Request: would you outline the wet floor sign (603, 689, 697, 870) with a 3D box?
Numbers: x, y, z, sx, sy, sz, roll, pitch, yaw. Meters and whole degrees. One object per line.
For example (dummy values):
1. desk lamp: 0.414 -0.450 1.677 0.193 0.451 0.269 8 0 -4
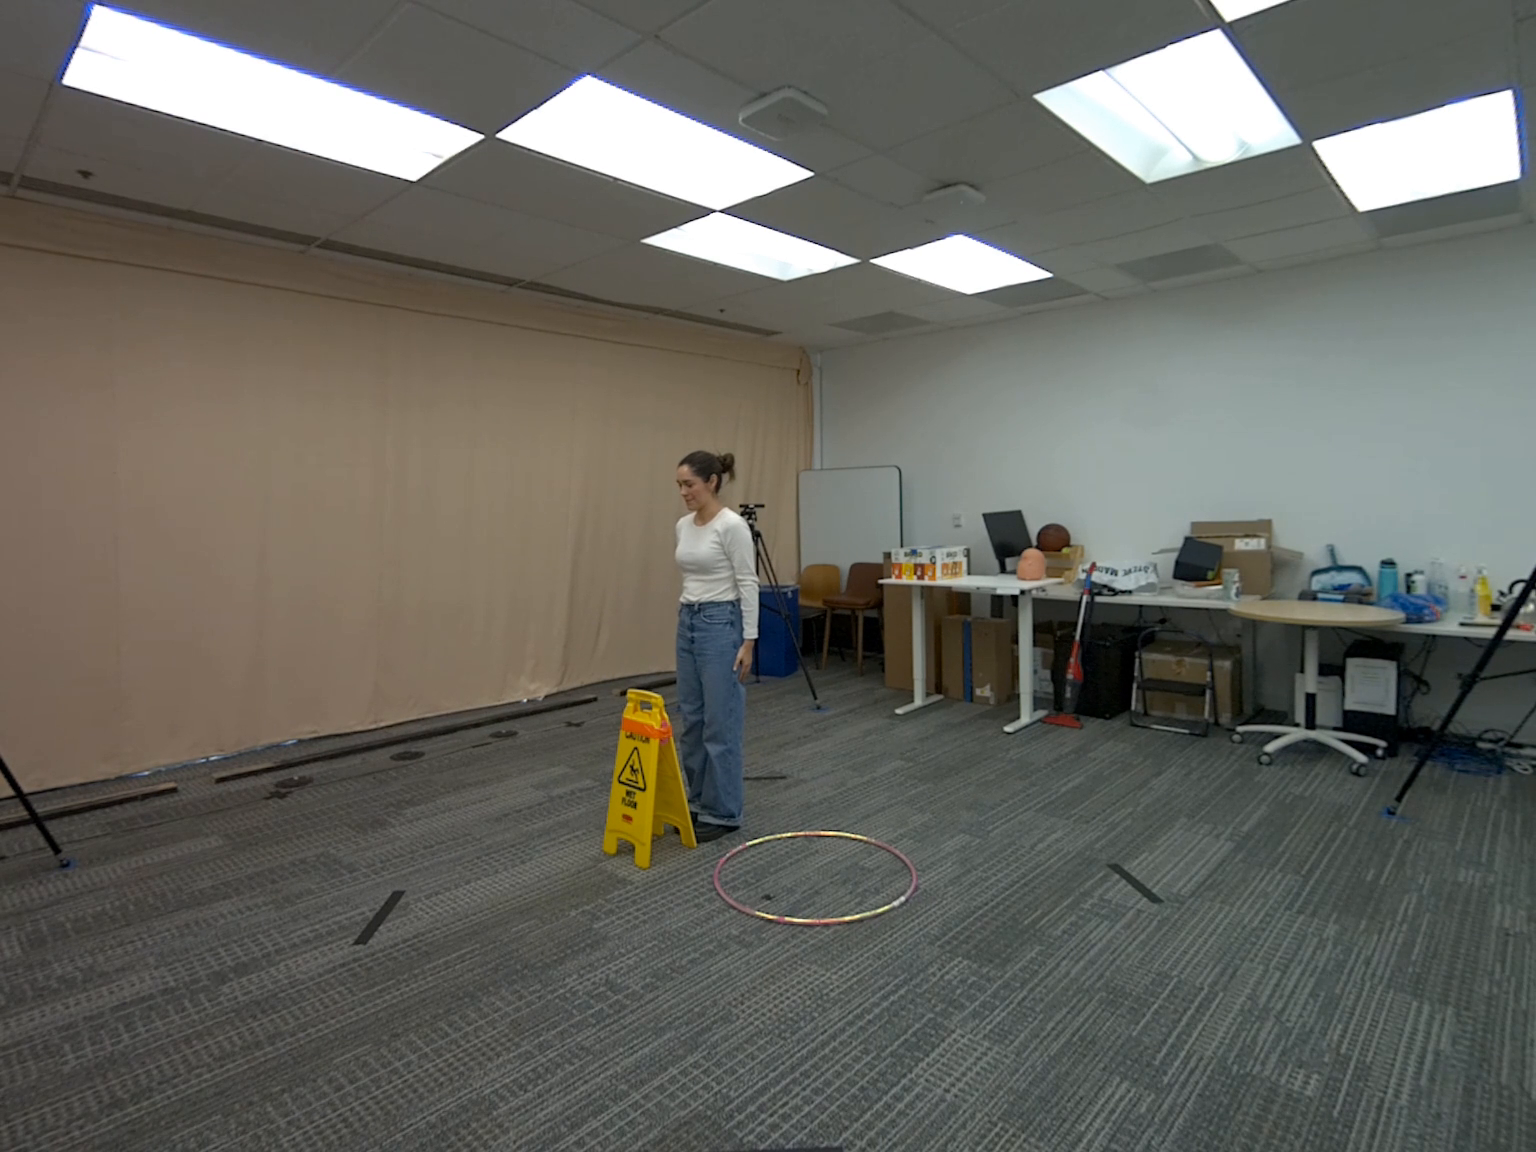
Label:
1. wet floor sign: -0.489 0.790 3.411 0.291 0.645 0.281 1 4 44
